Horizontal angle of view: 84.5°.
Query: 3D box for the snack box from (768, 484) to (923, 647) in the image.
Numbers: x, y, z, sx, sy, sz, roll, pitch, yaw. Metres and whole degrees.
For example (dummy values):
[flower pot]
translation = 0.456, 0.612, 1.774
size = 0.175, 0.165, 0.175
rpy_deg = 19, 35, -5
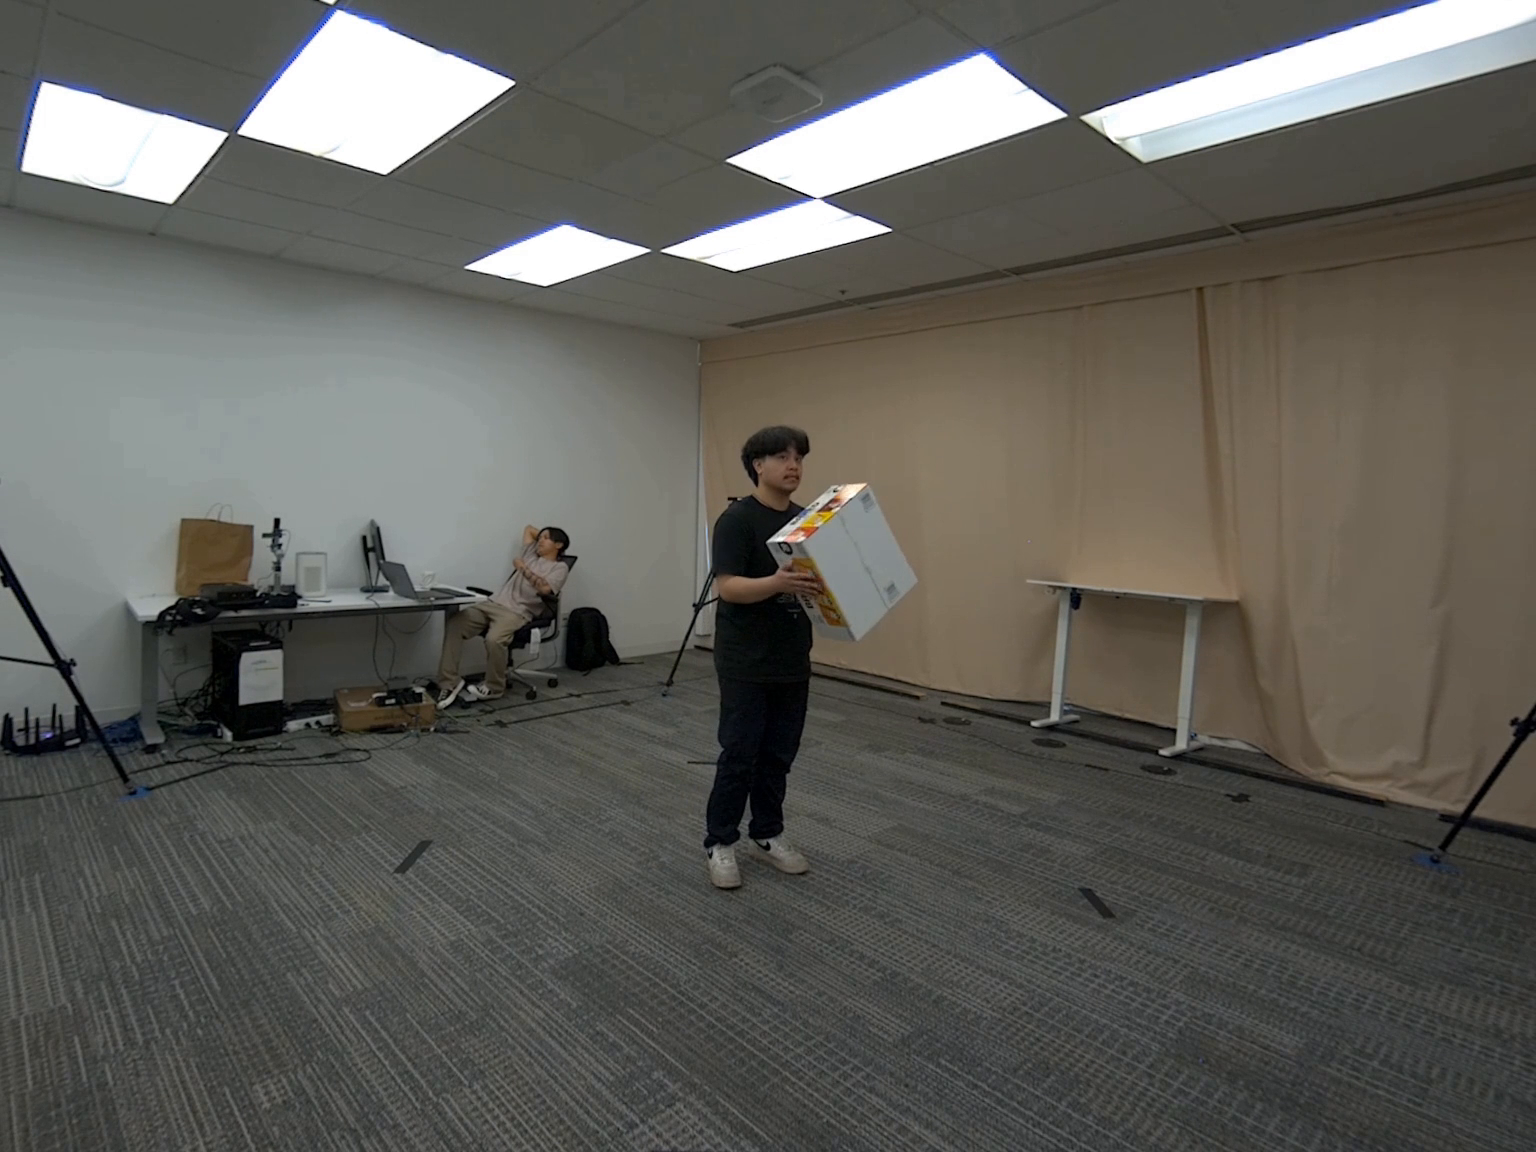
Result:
[snack box]
translation = 0.258, -0.042, 2.848
size = 0.339, 0.398, 0.210
rpy_deg = -39, 20, -25
